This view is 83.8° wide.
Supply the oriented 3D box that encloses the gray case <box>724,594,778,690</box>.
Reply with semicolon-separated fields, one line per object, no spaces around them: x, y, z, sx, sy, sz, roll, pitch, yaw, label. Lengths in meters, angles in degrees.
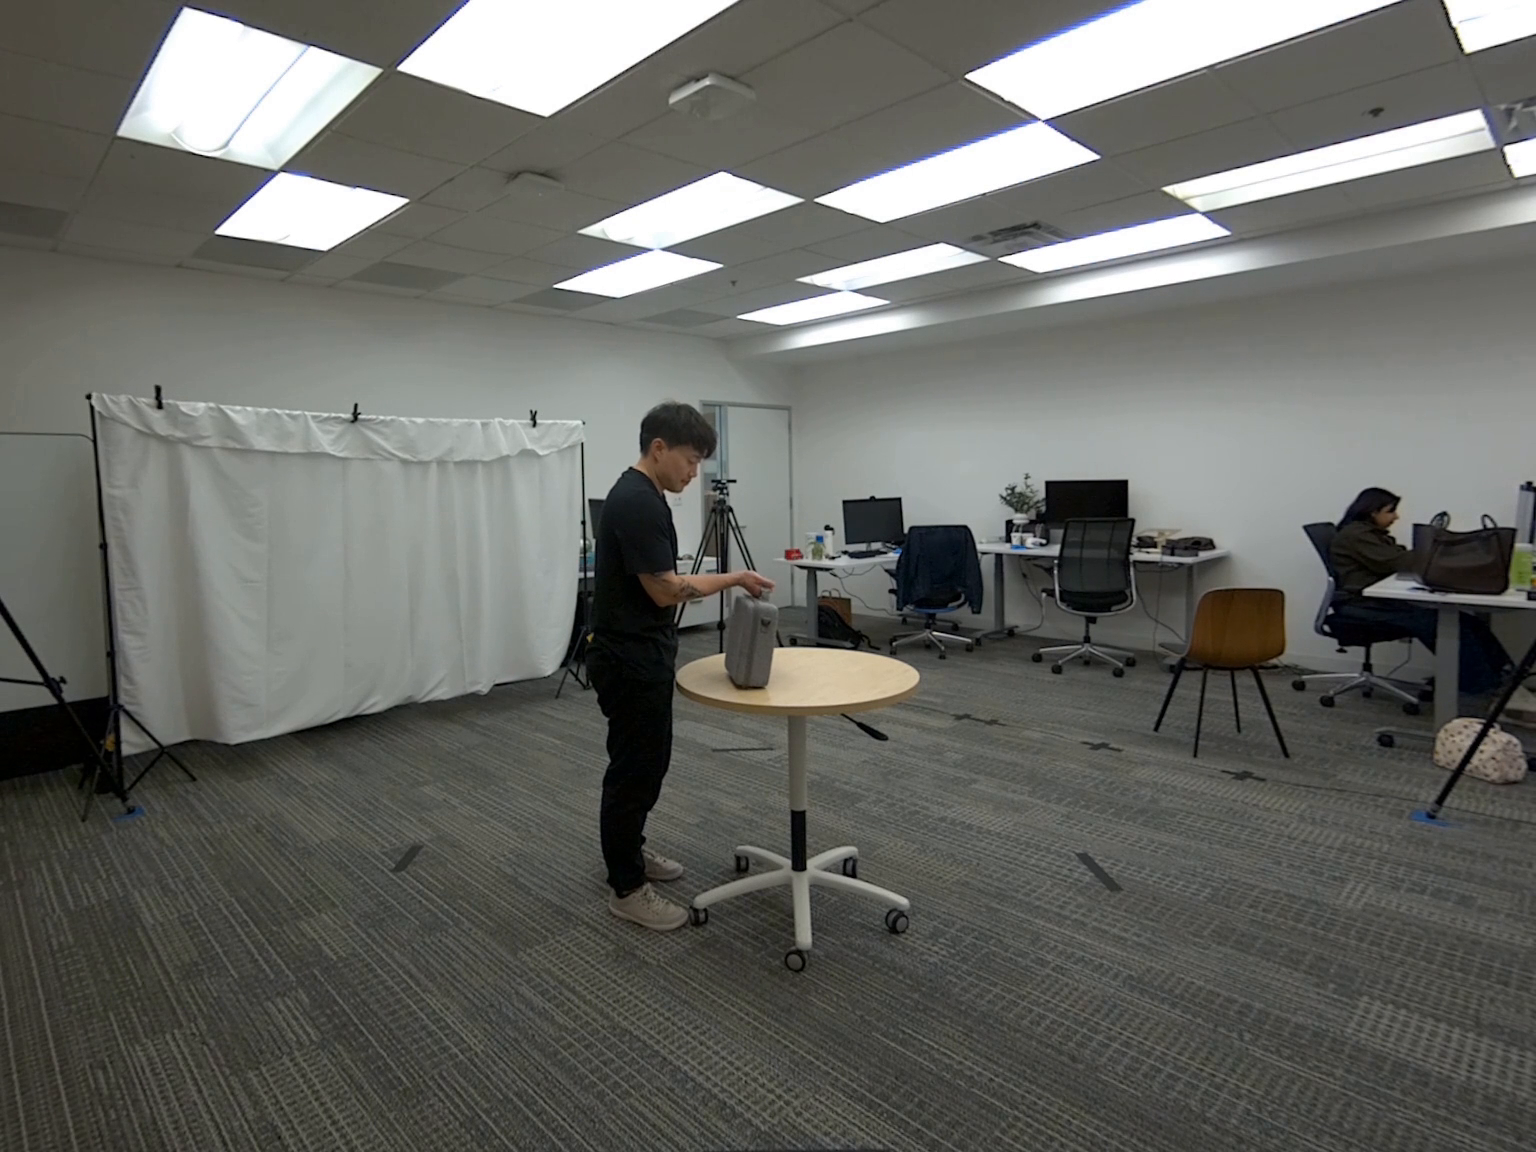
-0.050;0.190;2.620;0.103;0.260;0.260;7;4;-11;gray case
